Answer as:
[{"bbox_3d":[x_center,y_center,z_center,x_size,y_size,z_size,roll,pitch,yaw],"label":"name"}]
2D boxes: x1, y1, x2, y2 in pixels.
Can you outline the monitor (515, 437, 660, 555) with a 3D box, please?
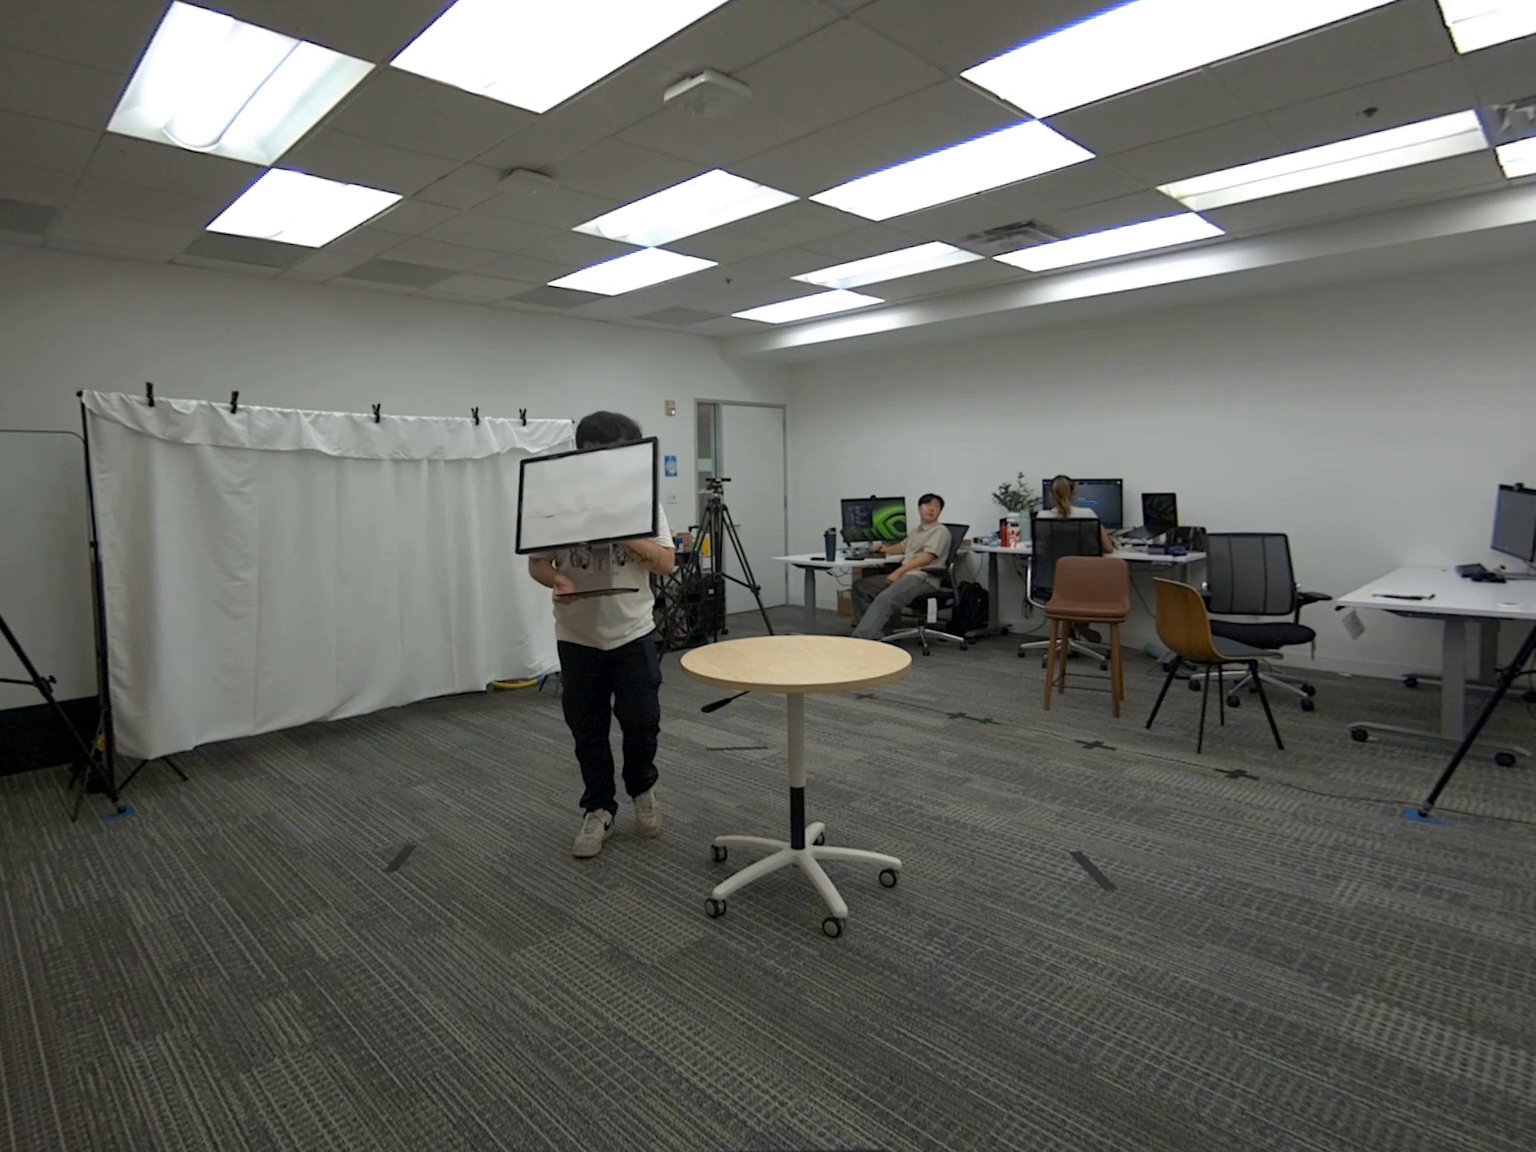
[{"bbox_3d":[-0.614,-0.182,3.076,0.574,0.560,0.204,-8,-12,19],"label":"monitor"}]
